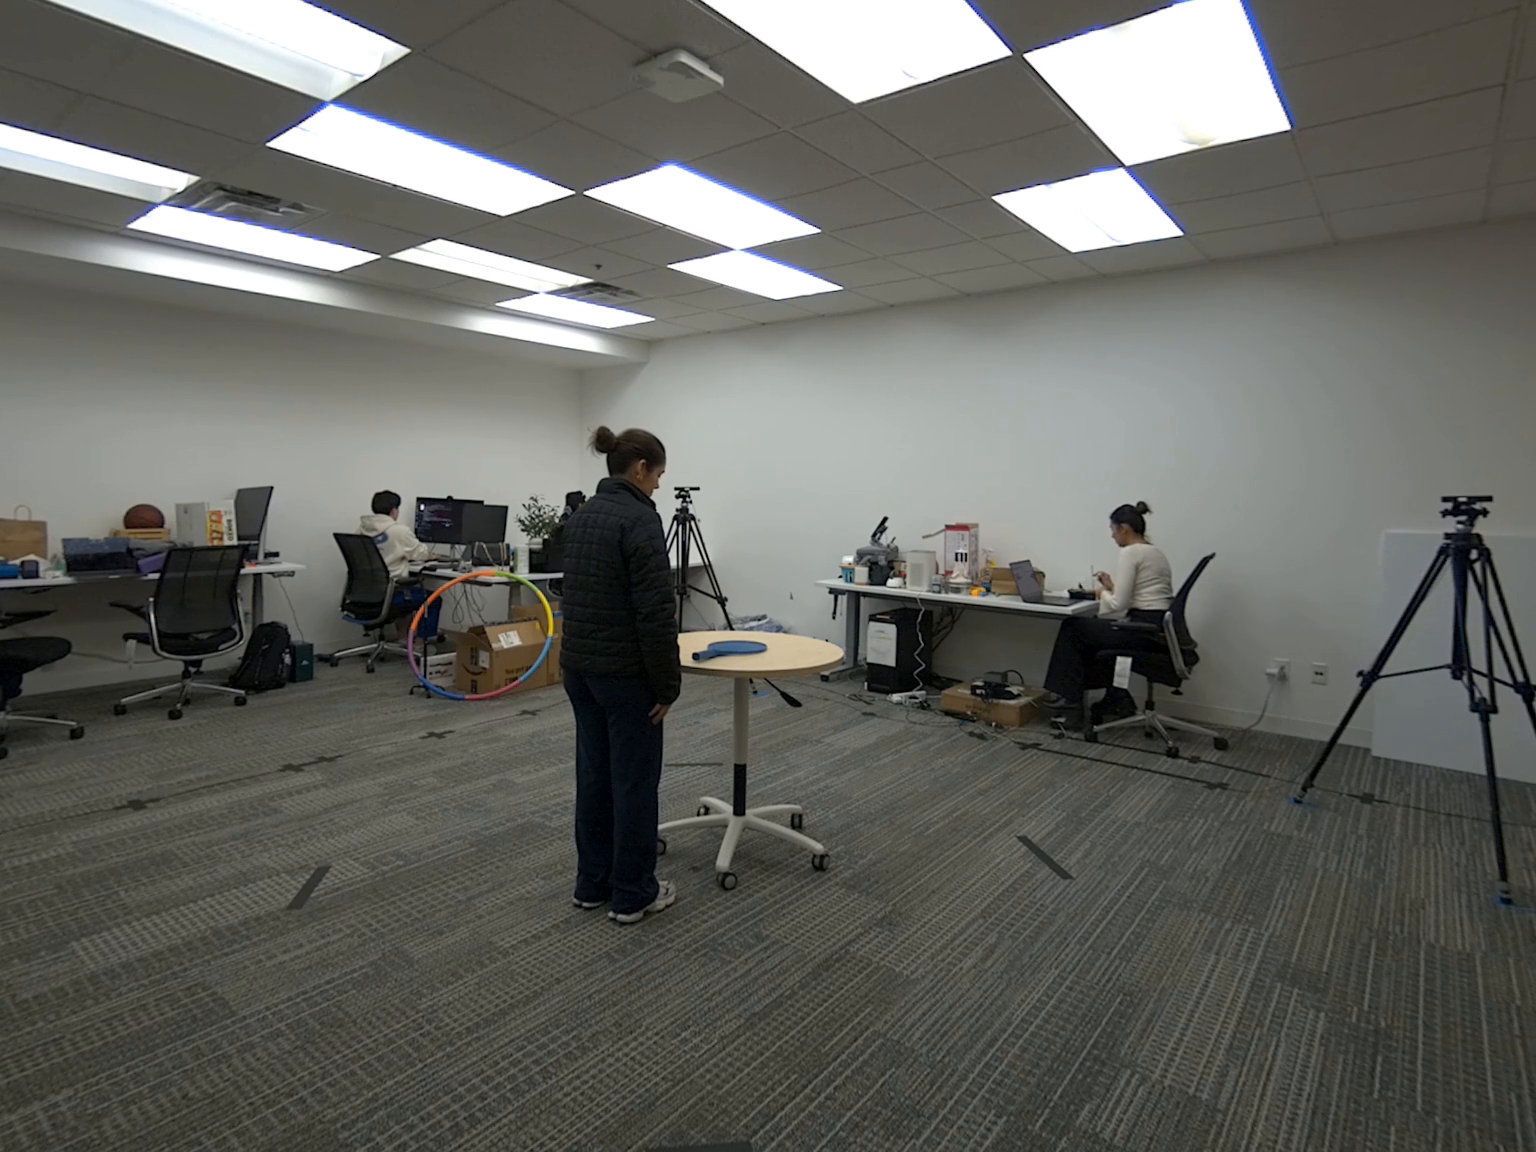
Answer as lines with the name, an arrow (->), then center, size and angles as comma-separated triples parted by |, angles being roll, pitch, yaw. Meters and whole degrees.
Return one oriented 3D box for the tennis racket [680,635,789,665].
tennis racket -> -0.122, 0.273, 3.159 | 0.220, 0.031, 0.421 | 4, 5, 30
